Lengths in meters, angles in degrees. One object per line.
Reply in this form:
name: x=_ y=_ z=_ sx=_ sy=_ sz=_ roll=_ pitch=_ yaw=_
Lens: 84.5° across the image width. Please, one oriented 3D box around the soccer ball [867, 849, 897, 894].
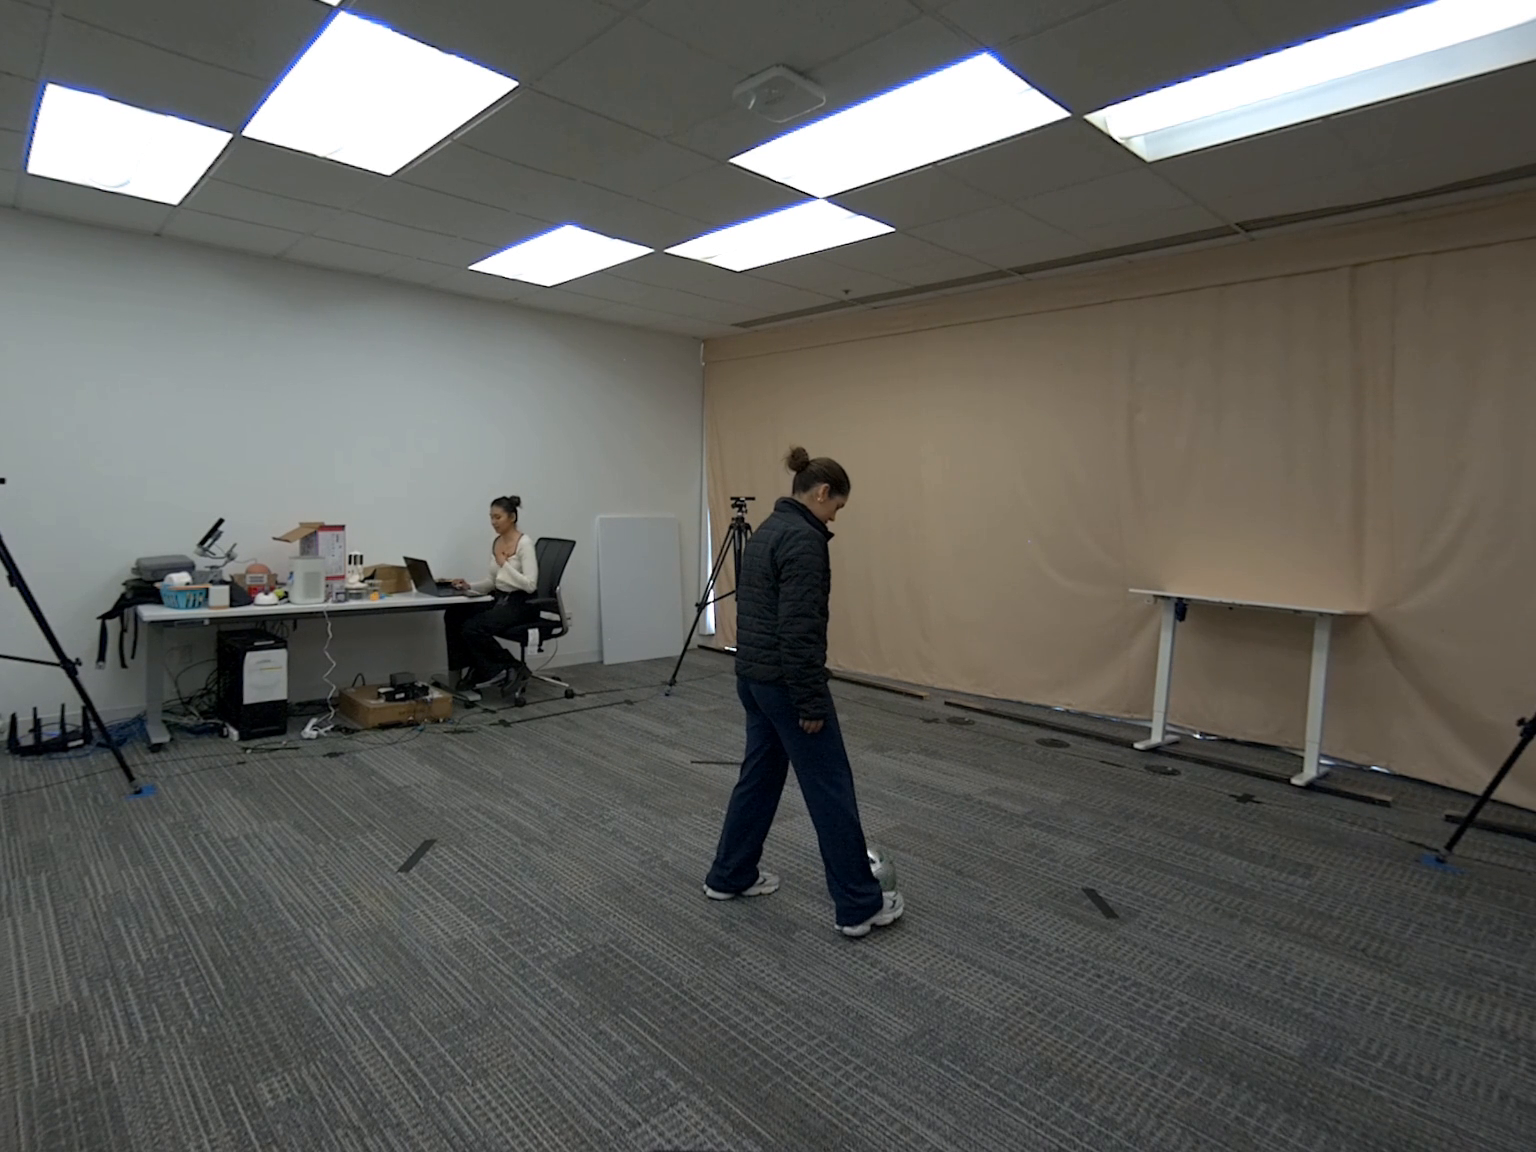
soccer ball: x=0.350 y=1.045 z=2.910 sx=0.187 sy=0.187 sz=0.188 roll=1 pitch=4 yaw=-1
